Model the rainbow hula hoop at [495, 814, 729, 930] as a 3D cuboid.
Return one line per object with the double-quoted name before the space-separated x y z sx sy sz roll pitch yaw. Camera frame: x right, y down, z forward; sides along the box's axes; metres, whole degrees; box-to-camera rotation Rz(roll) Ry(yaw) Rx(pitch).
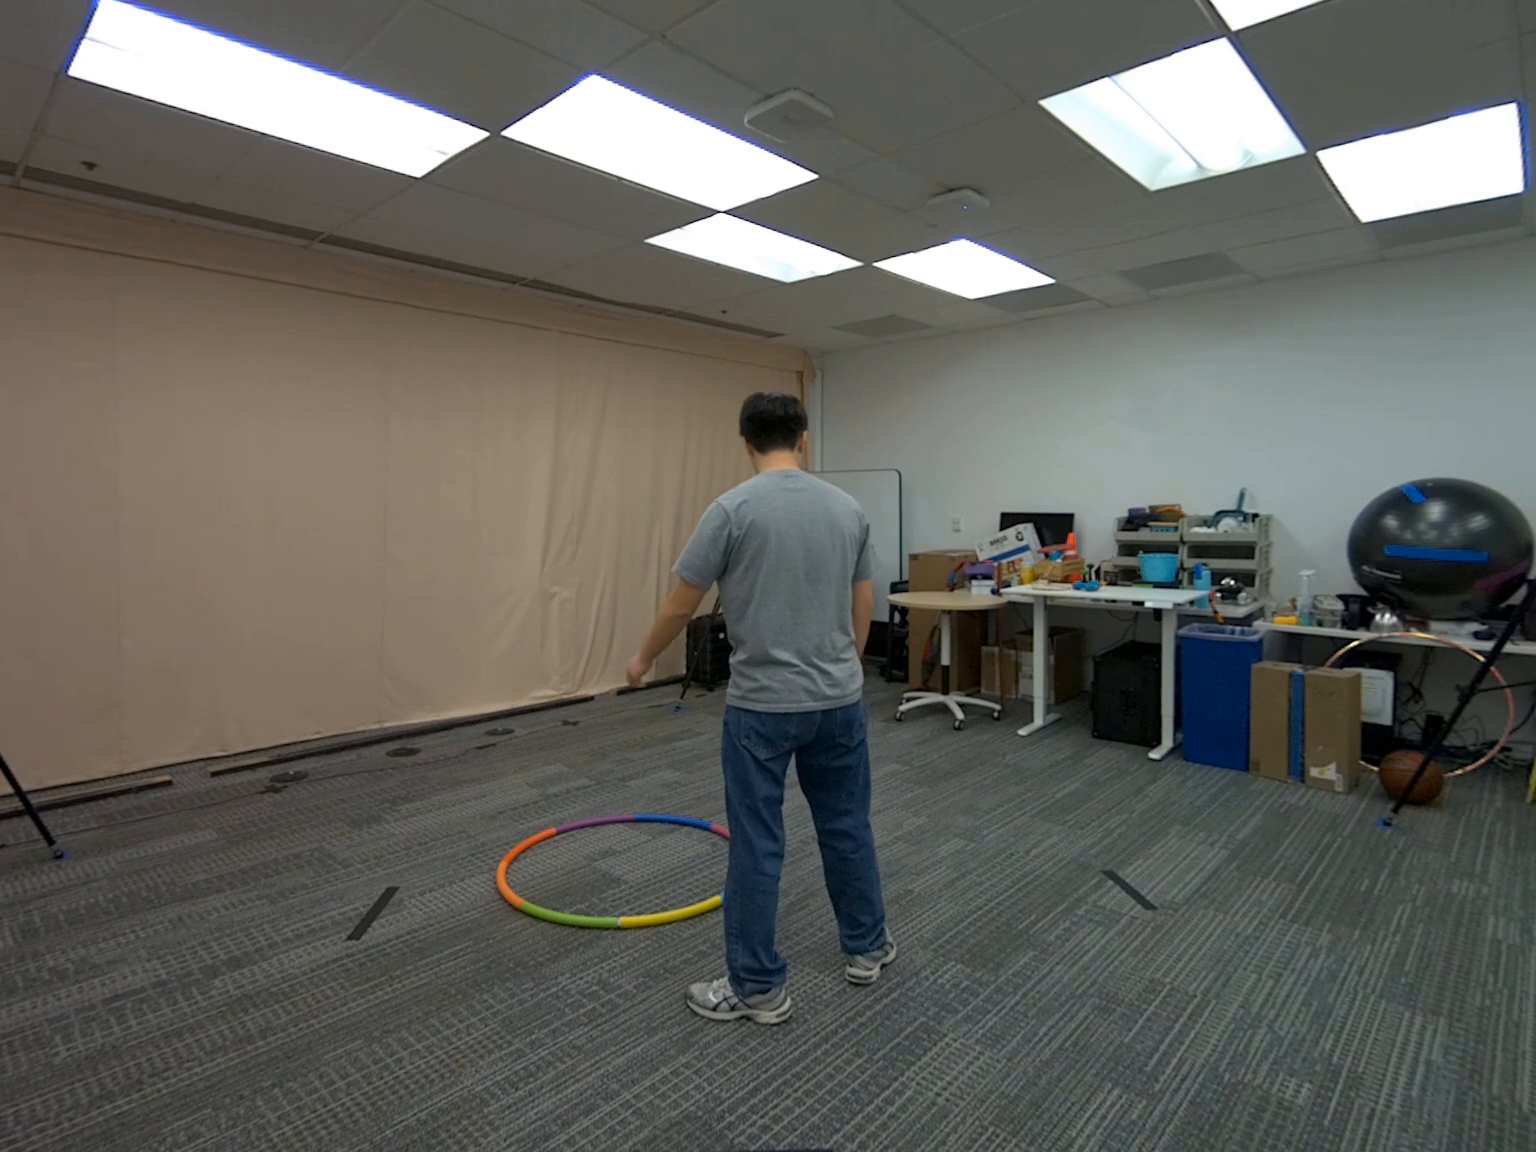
"rainbow hula hoop" -0.537 1.097 3.254 0.978 0.035 0.982 -1 4 -2
